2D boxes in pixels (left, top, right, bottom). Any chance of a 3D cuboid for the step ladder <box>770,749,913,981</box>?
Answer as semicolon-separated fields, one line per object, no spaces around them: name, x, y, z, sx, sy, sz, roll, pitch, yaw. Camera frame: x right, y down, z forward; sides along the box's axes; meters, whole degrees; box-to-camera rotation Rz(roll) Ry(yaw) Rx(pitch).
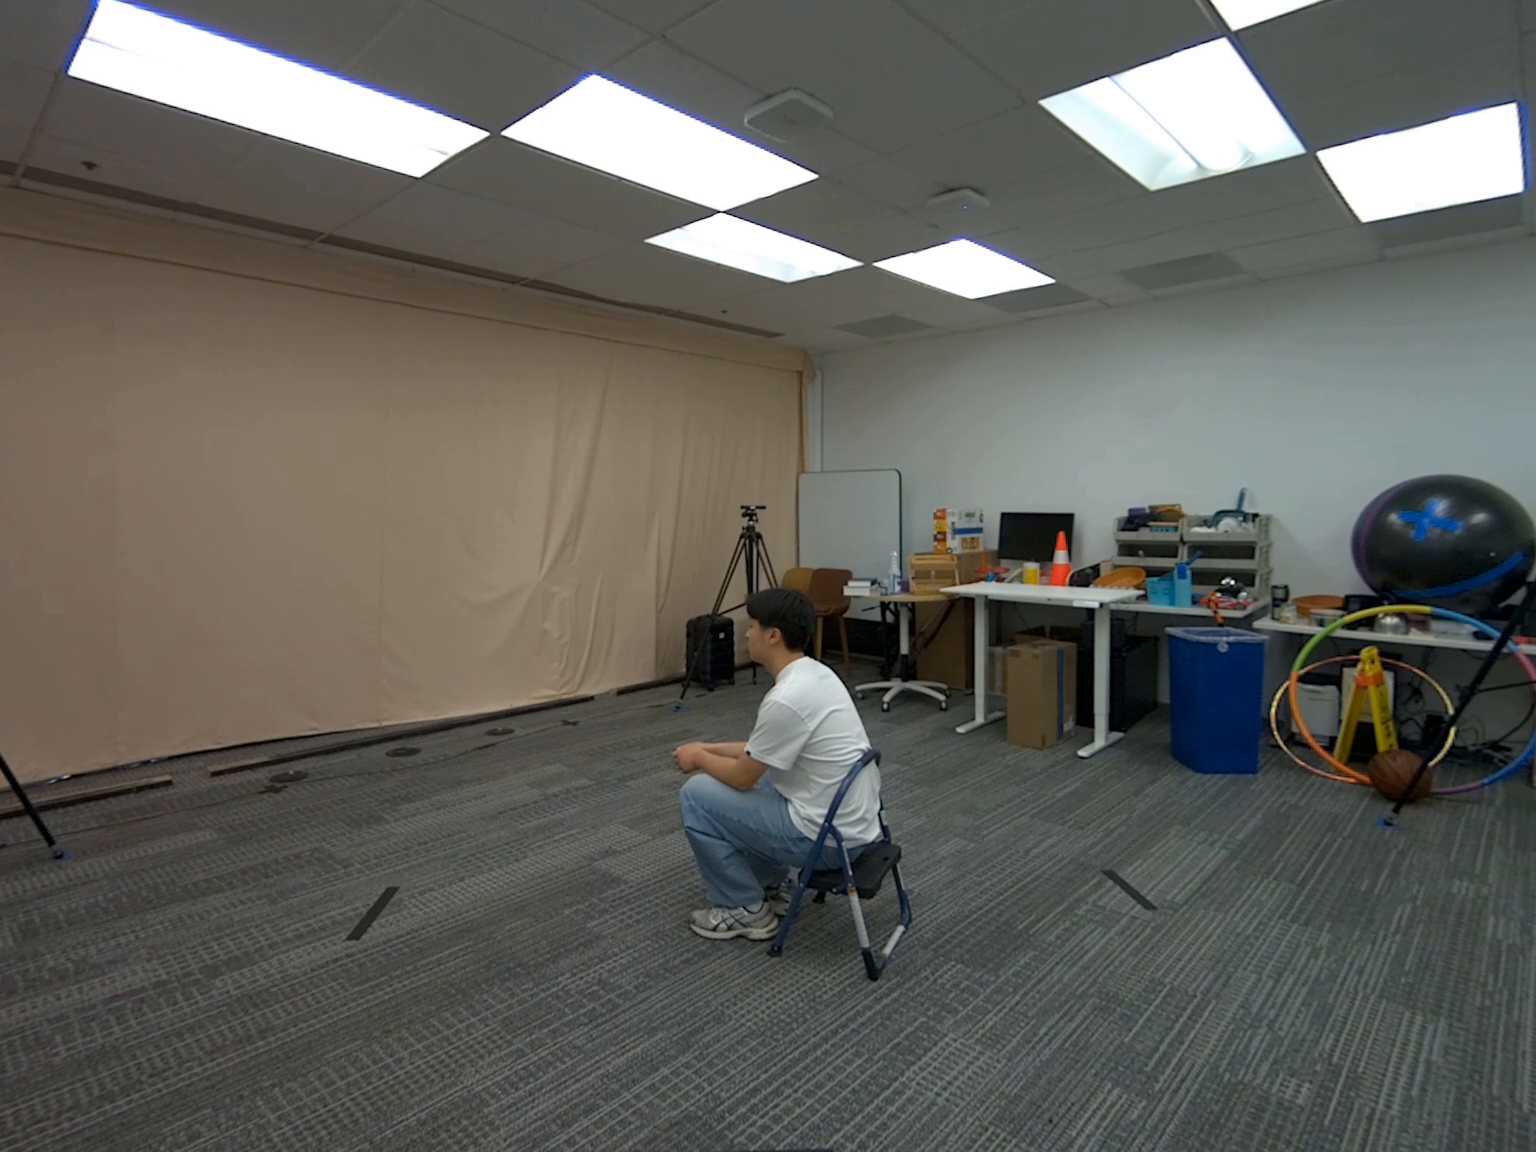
step ladder;0.251;0.868;2.695;0.358;0.604;0.420;2;5;26
